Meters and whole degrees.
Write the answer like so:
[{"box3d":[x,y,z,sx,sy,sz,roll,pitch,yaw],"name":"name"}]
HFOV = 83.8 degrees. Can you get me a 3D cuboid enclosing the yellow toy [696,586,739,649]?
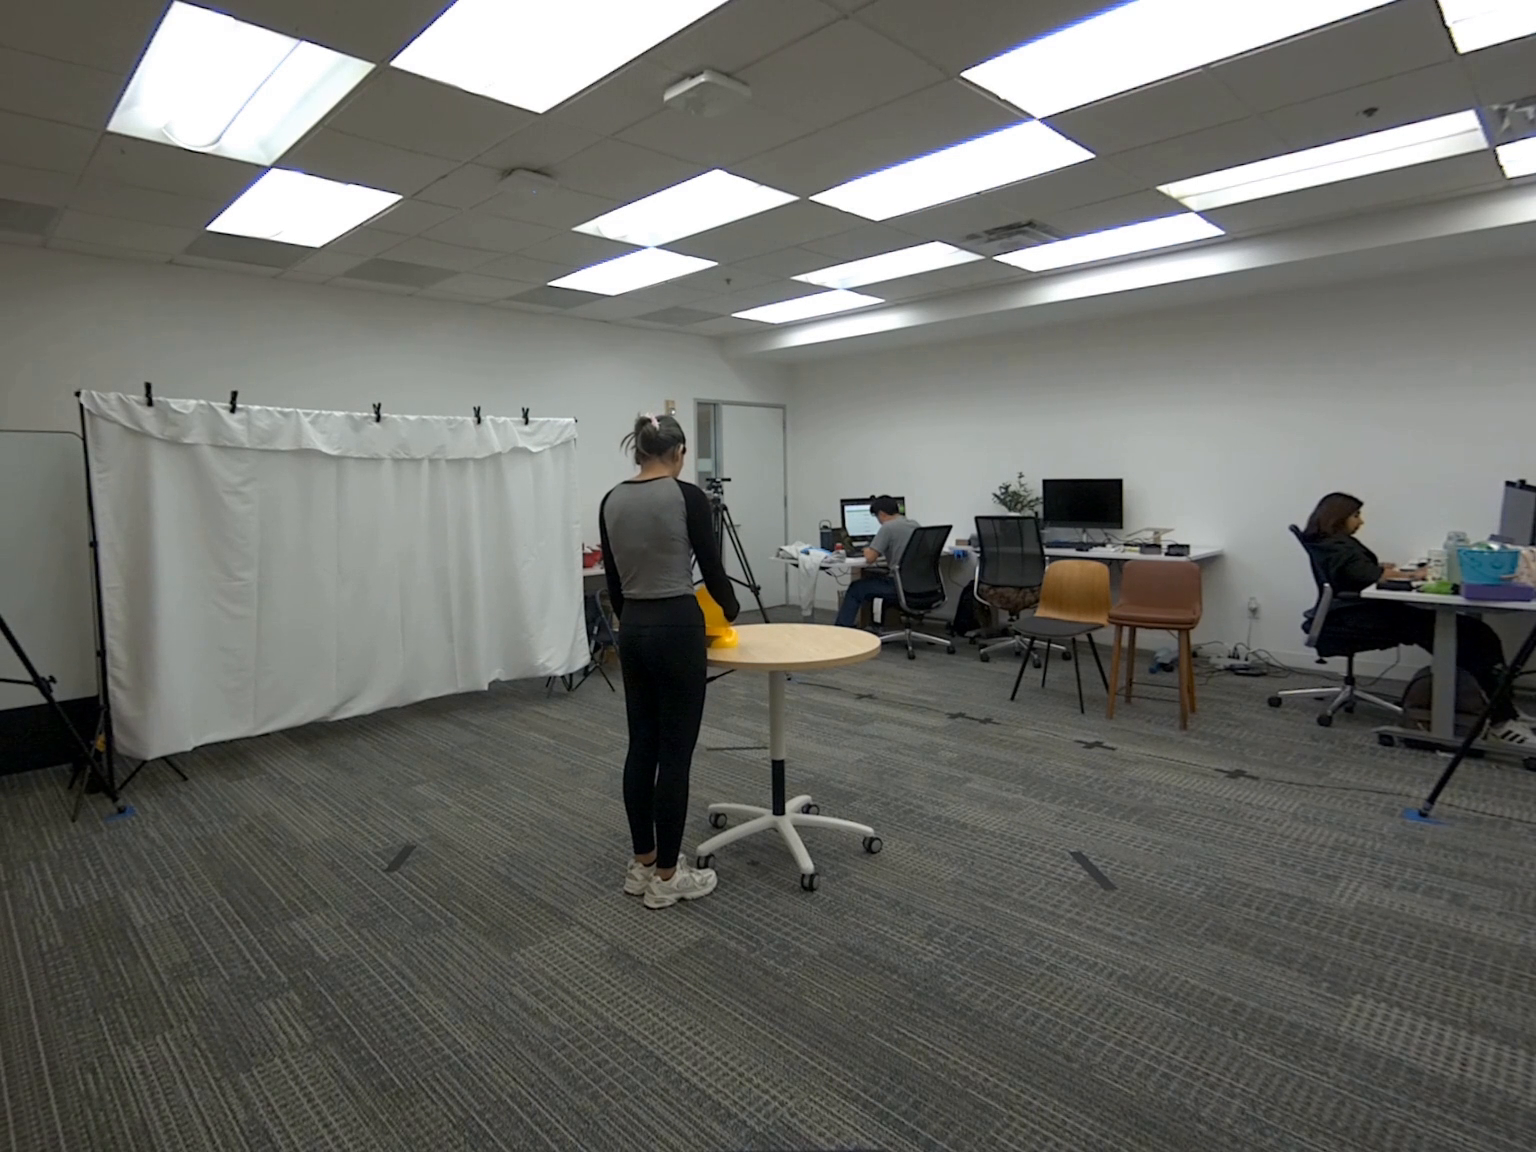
[{"box3d":[-0.206,0.135,3.127,0.208,0.230,0.191,1,5,16],"name":"yellow toy"}]
